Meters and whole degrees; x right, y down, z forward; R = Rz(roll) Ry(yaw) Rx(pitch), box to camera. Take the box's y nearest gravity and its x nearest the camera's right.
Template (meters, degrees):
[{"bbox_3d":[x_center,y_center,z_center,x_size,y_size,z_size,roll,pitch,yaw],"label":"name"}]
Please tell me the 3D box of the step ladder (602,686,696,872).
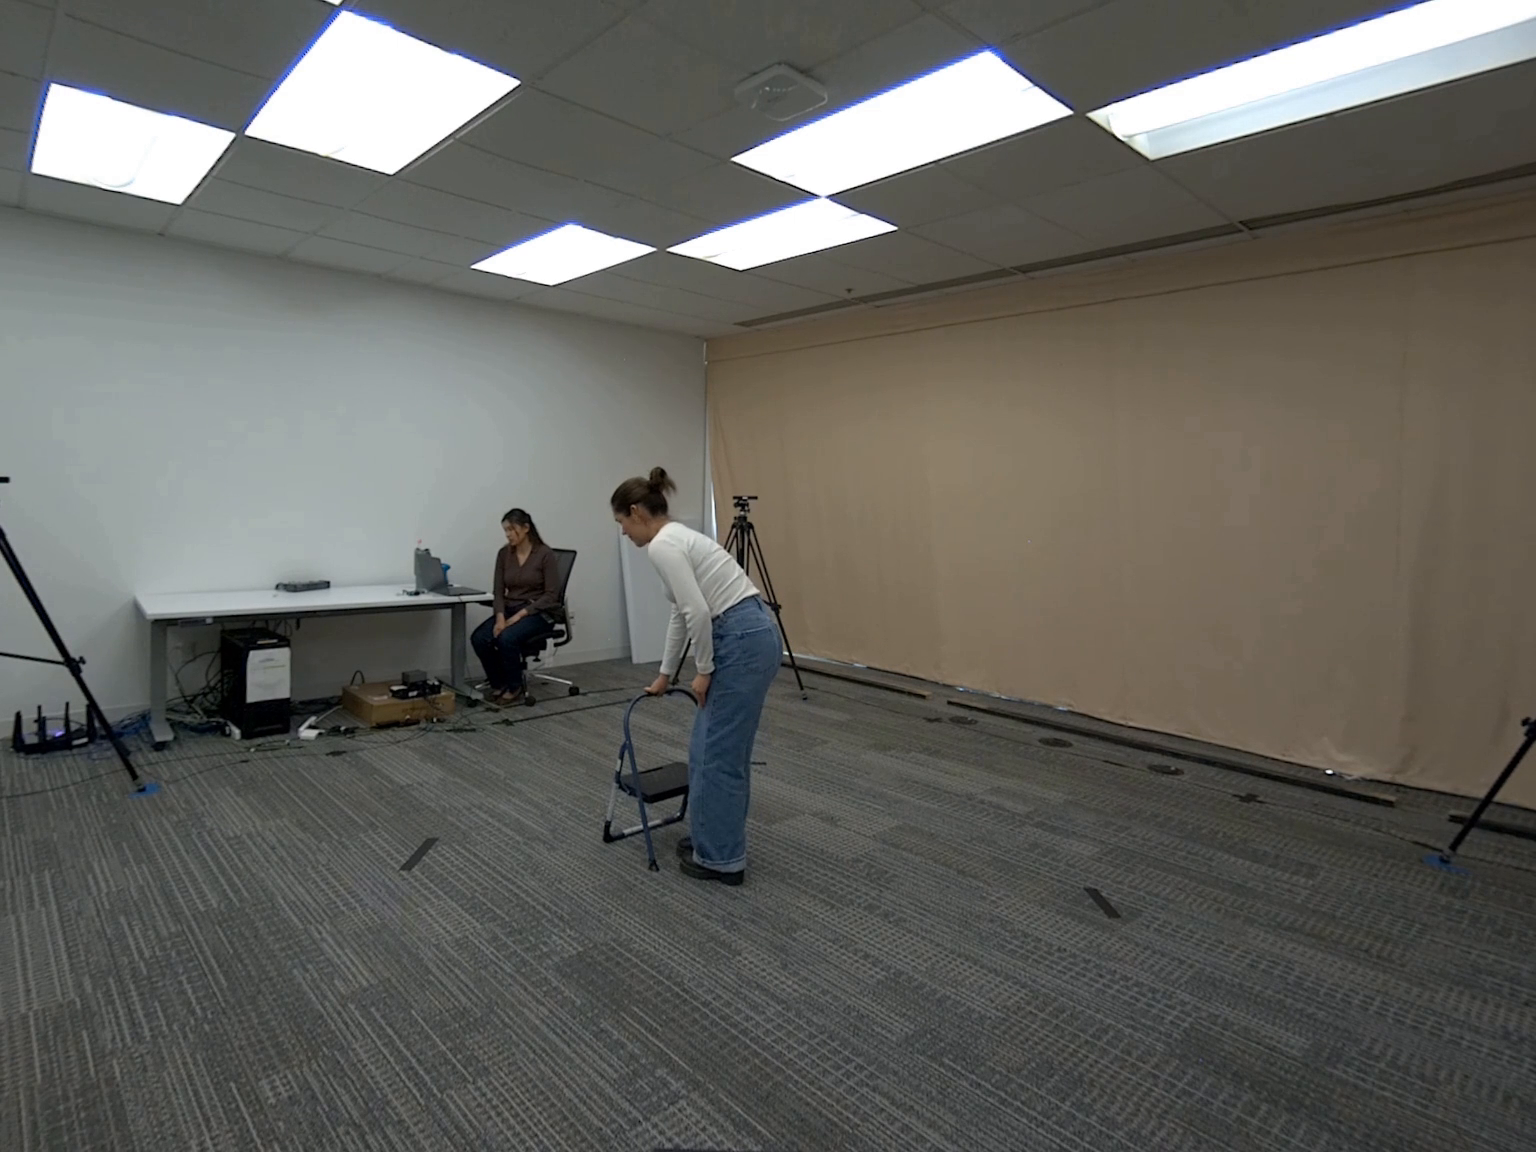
[{"bbox_3d":[-0.395,0.769,3.372,0.421,0.604,0.358,-2,5,-44],"label":"step ladder"}]
